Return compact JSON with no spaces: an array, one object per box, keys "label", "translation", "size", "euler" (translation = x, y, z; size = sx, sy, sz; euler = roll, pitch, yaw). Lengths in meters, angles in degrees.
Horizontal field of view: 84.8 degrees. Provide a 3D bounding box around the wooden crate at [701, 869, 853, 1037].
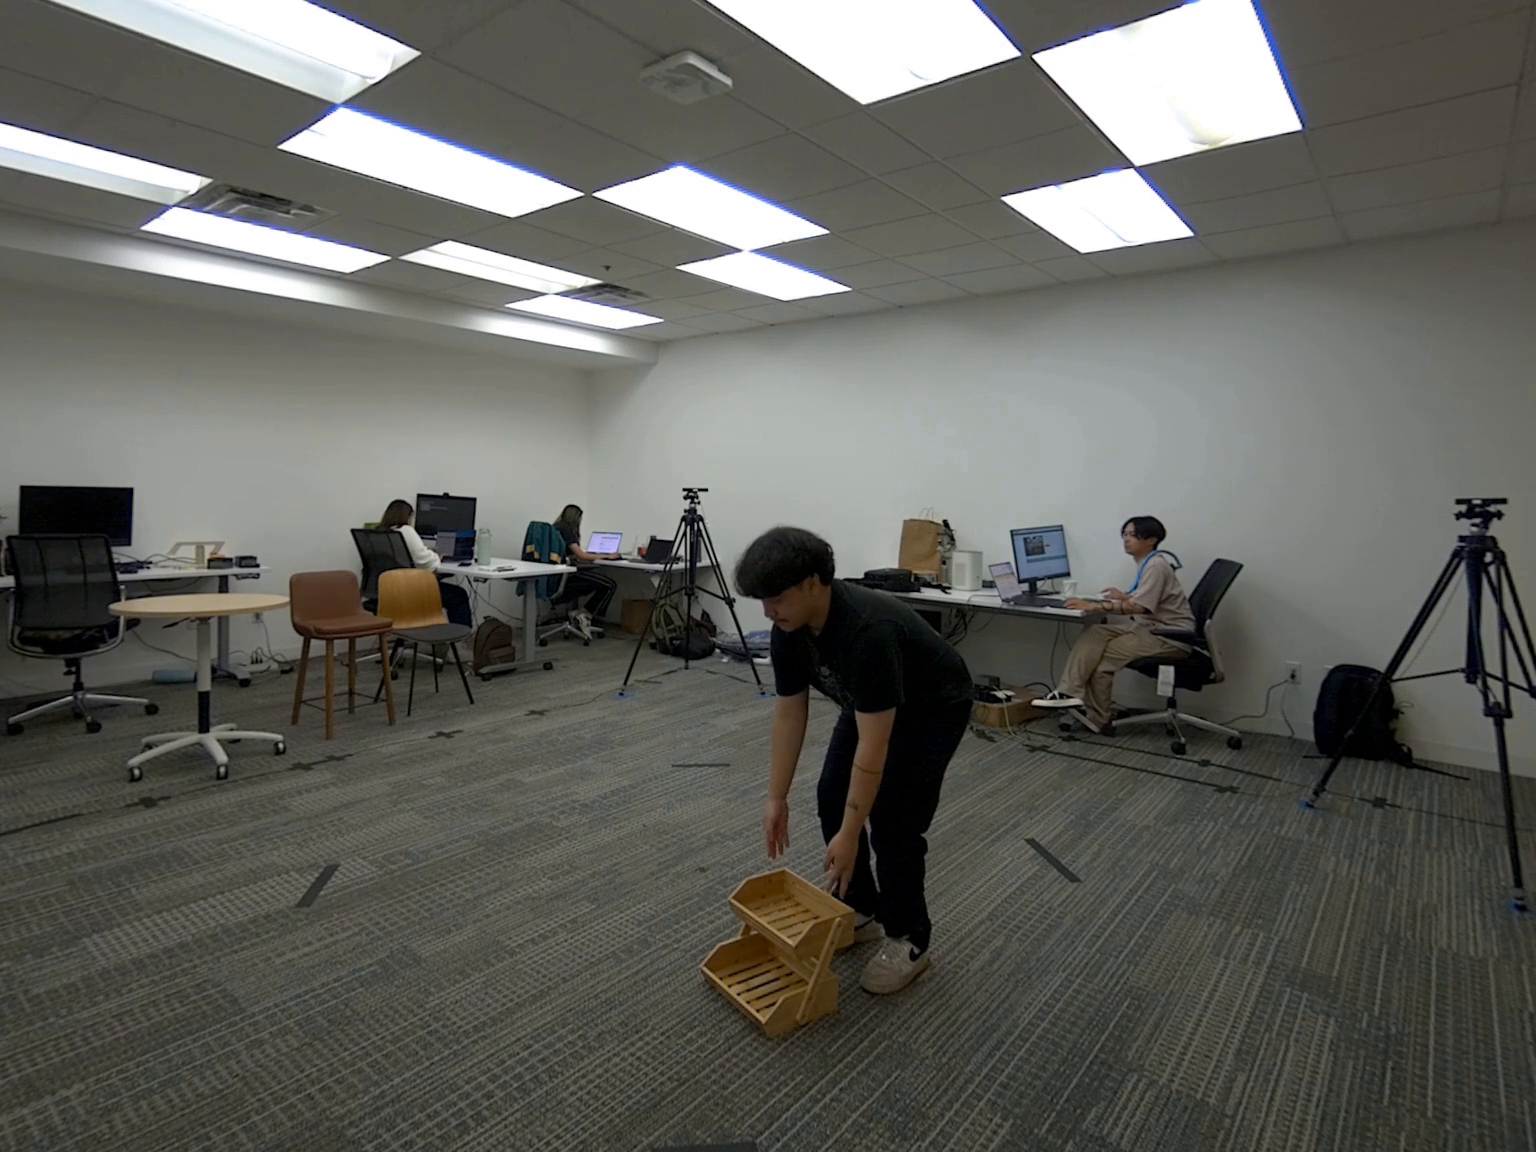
[{"label":"wooden crate","translation":[0.016,1.019,2.349],"size":[0.293,0.272,0.335],"euler":[-1,5,-36]}]
